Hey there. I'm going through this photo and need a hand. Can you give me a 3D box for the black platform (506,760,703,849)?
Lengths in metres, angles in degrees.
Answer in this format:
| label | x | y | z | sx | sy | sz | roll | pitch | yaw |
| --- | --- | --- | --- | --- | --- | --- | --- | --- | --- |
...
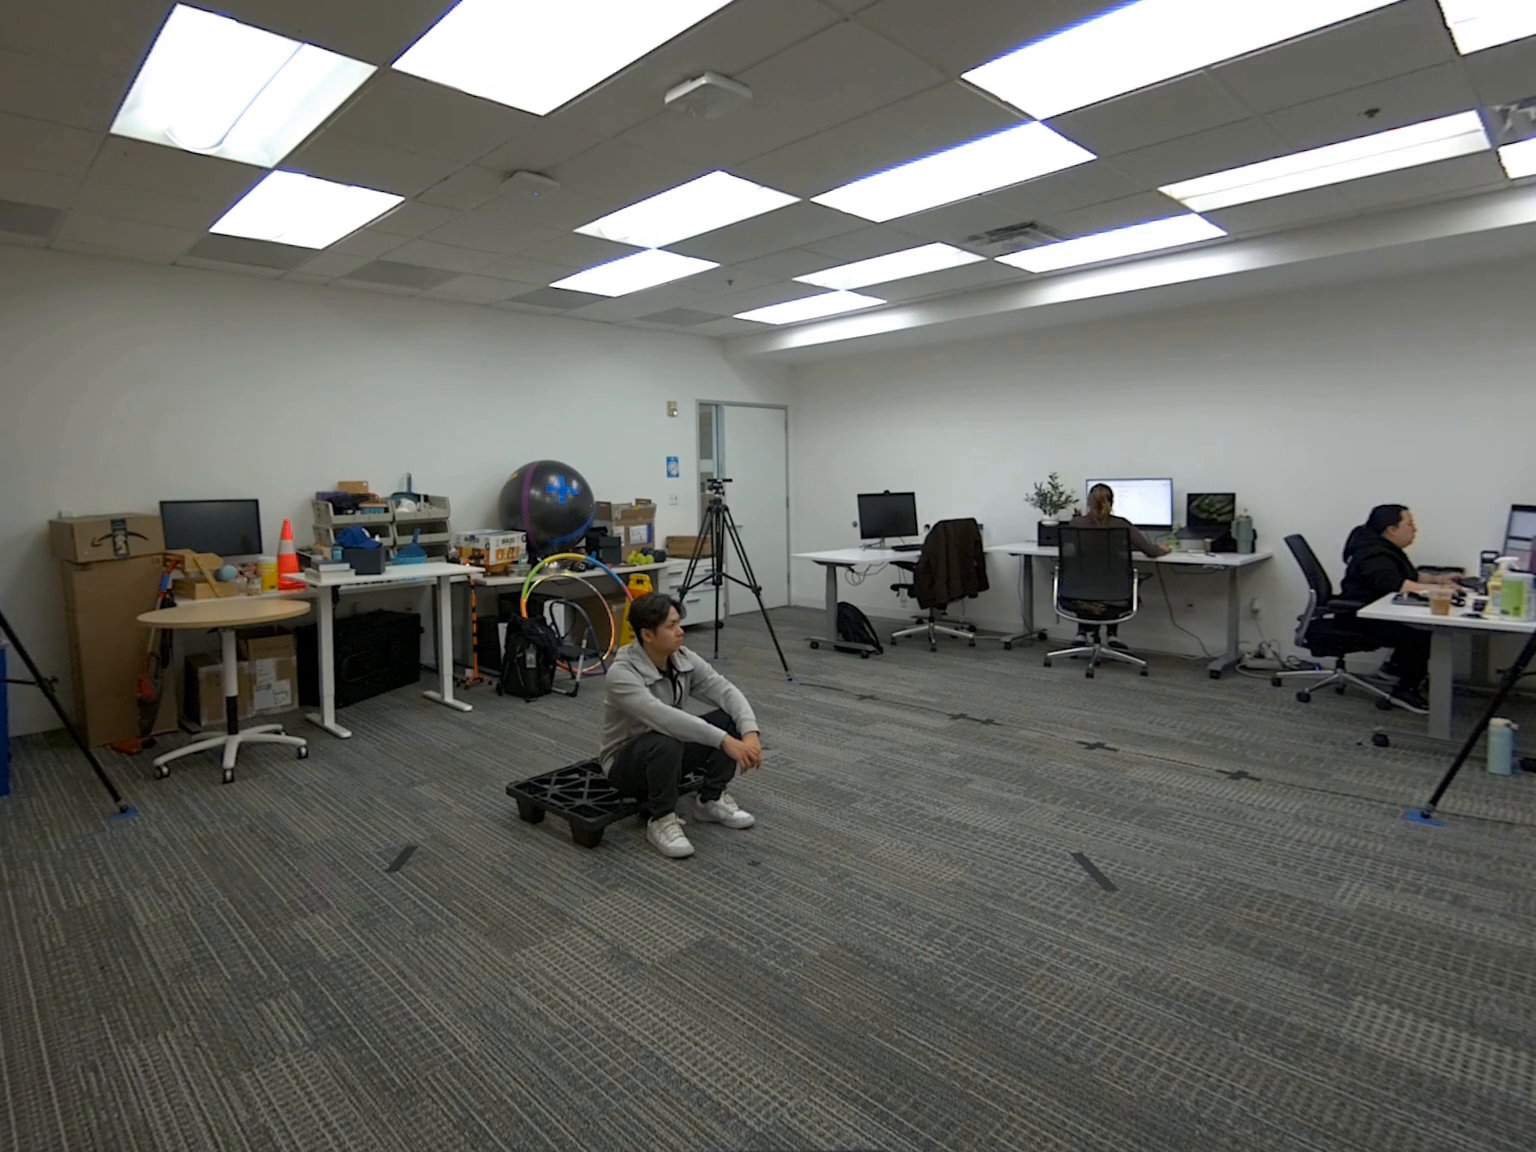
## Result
| label | x | y | z | sx | sy | sz | roll | pitch | yaw |
| --- | --- | --- | --- | --- | --- | --- | --- | --- | --- |
| black platform | -0.616 | 0.926 | 3.673 | 0.624 | 0.142 | 0.785 | 5 | 9 | 41 |
